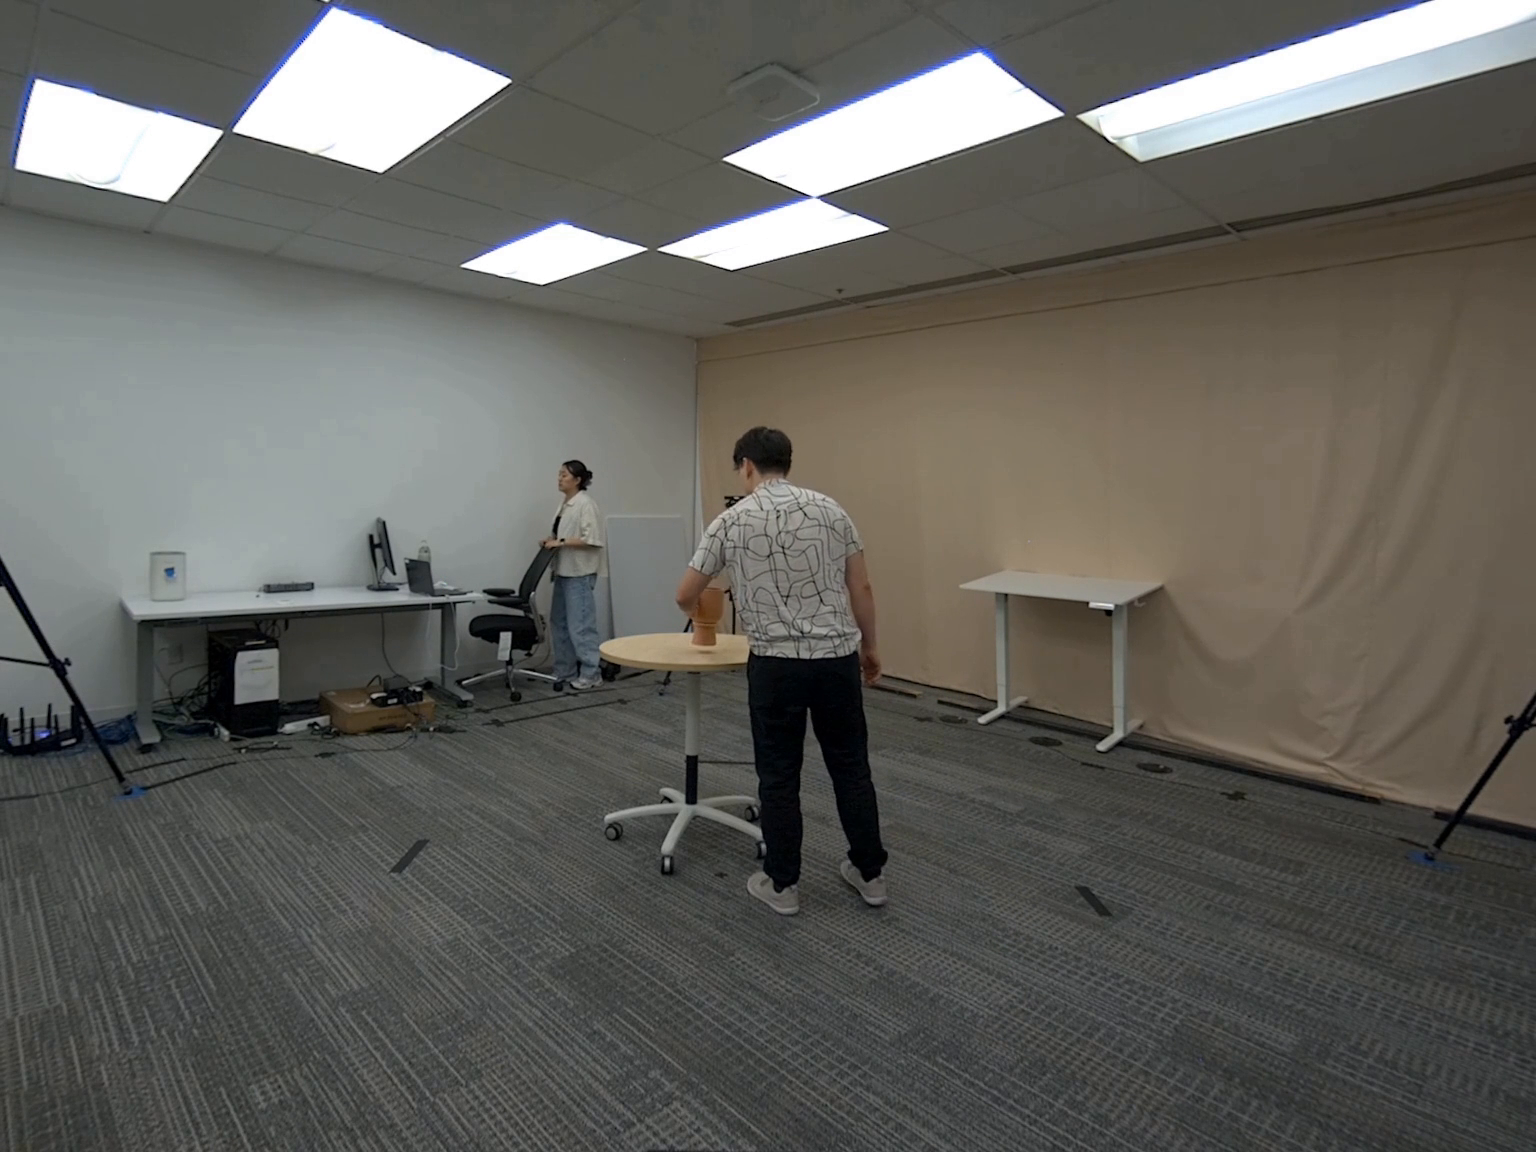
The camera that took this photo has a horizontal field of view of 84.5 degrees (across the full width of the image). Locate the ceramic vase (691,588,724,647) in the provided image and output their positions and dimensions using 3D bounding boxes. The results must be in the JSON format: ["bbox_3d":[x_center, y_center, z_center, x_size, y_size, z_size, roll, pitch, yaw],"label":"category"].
[{"bbox_3d":[-0.250,0.158,3.279,0.156,0.219,0.137,3,1,-20],"label":"ceramic vase"}]
